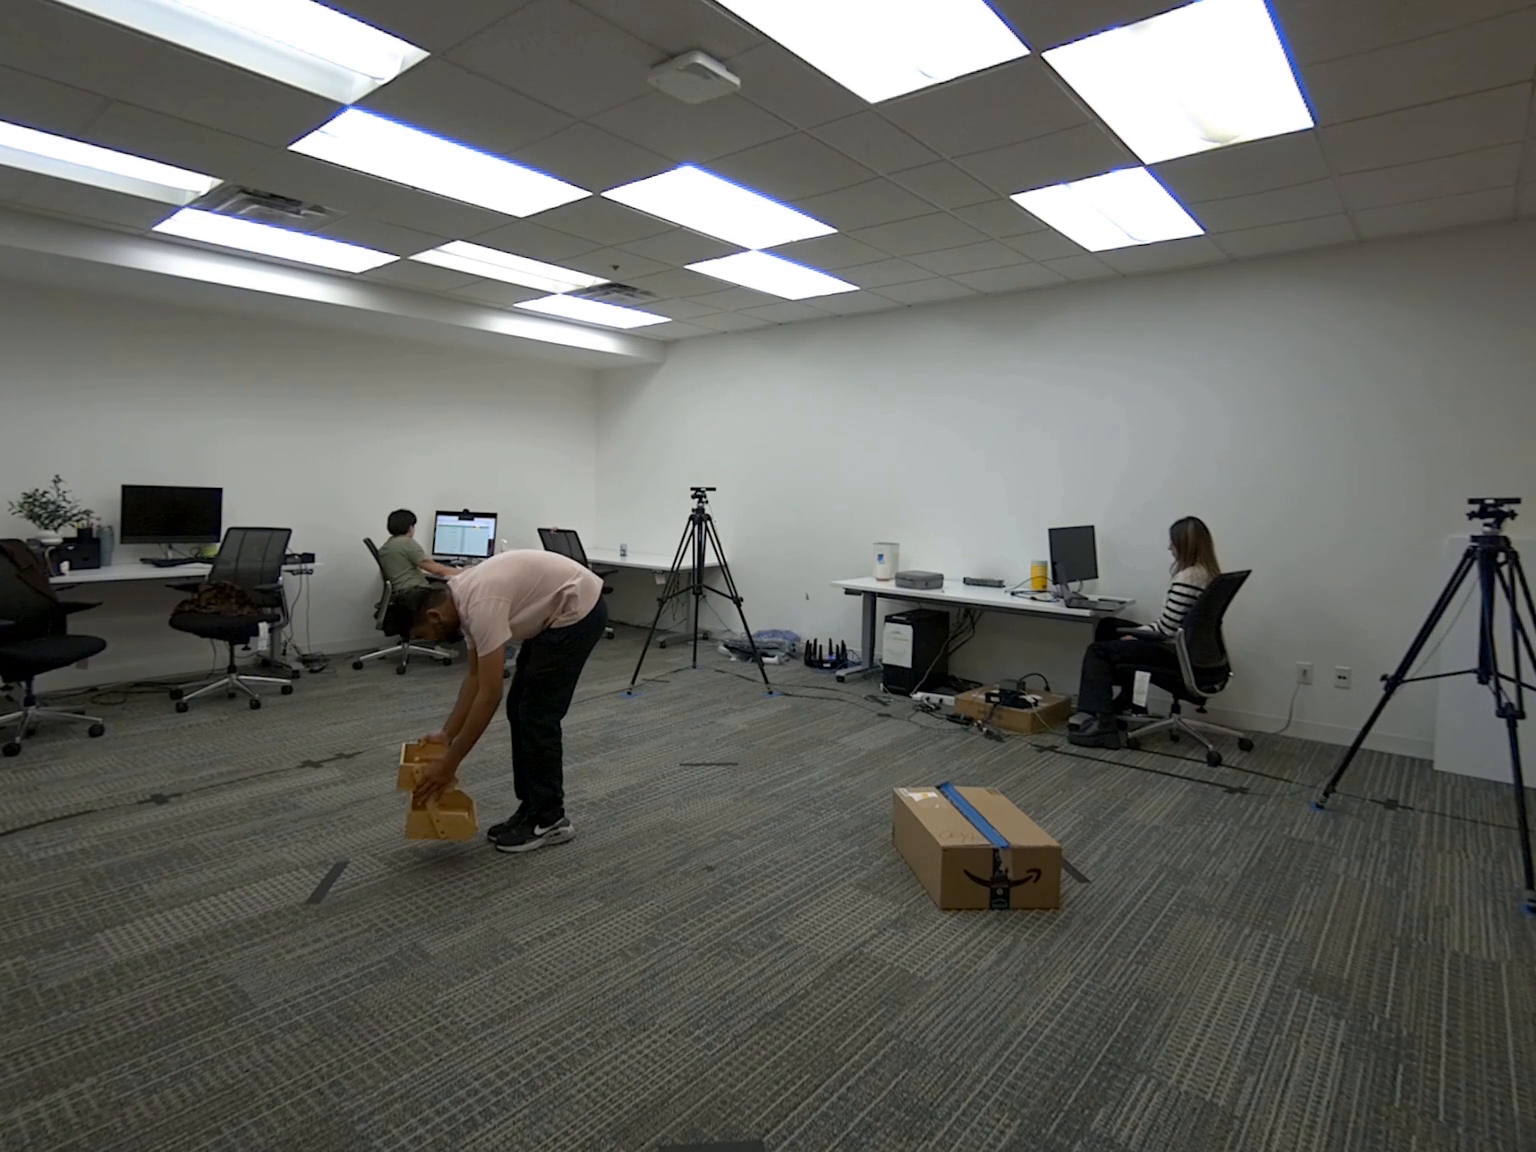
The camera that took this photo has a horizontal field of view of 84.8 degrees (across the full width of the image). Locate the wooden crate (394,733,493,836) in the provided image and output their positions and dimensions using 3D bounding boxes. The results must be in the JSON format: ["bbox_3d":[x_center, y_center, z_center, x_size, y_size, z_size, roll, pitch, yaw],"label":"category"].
[{"bbox_3d":[-1.224,0.776,3.164,0.295,0.273,0.332,8,0,-21],"label":"wooden crate"}]
